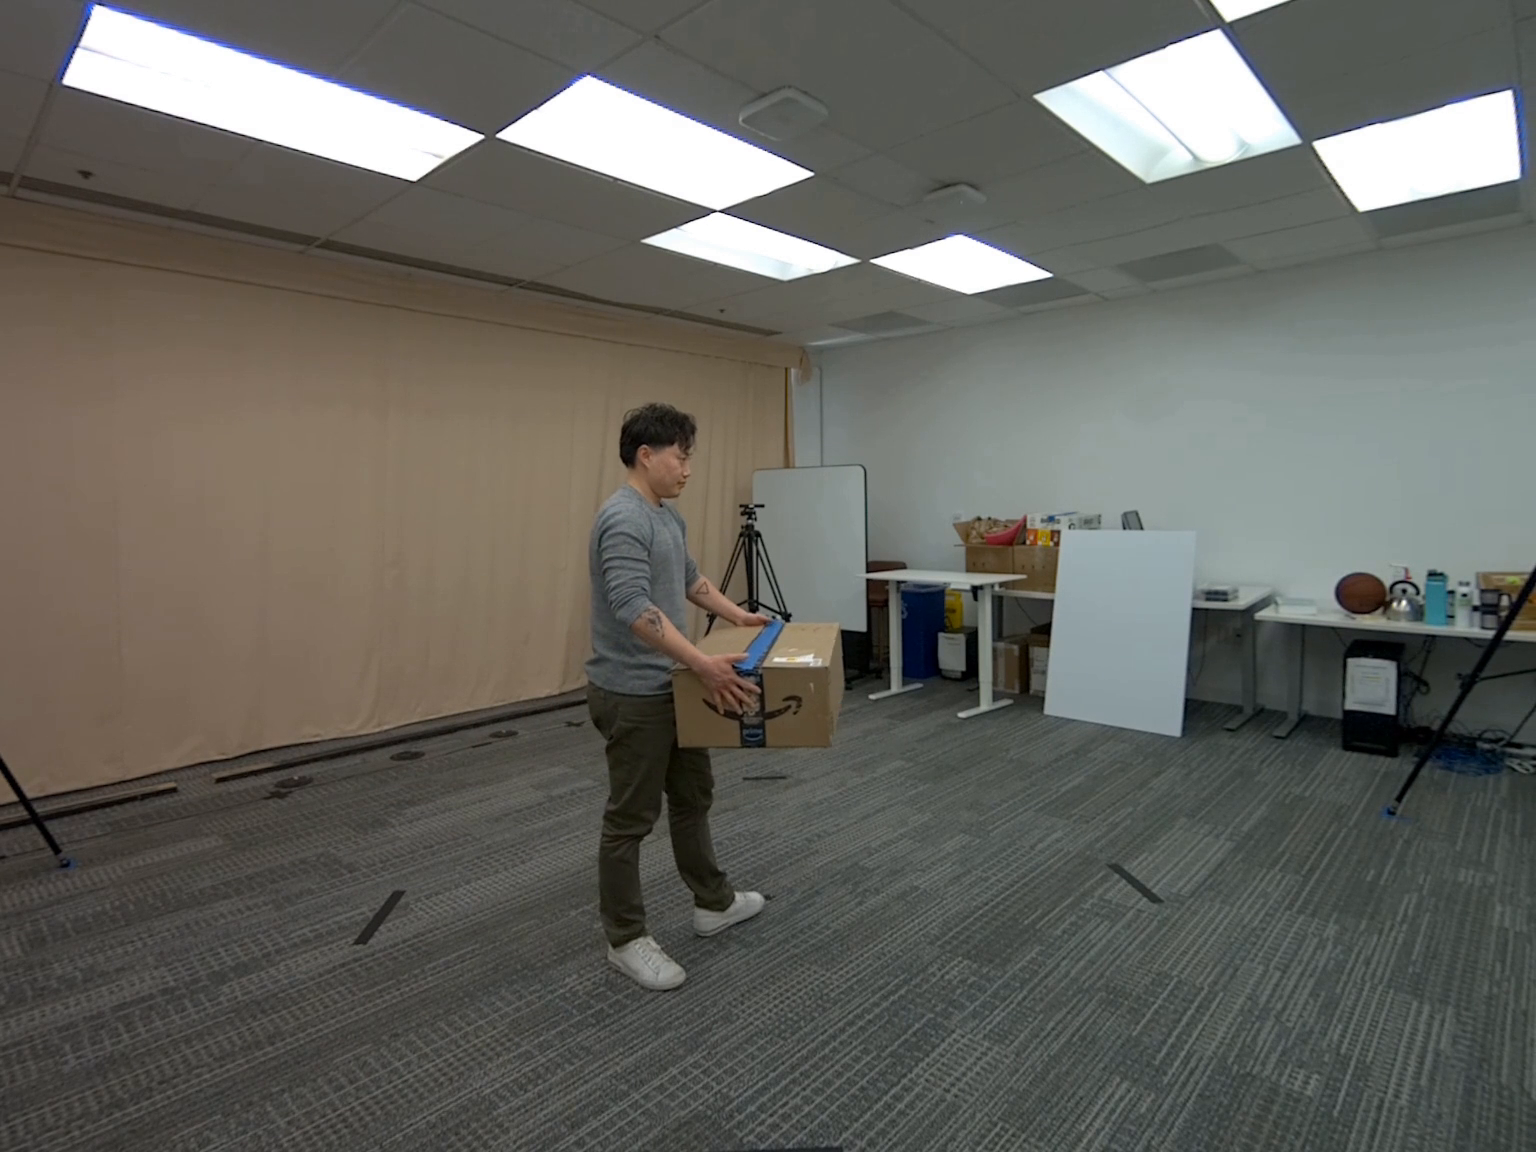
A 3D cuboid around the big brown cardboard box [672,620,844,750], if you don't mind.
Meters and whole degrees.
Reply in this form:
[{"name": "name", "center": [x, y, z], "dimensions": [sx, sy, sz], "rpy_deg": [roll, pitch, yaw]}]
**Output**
[{"name": "big brown cardboard box", "center": [-0.007, 0.301, 2.471], "dimensions": [0.422, 0.232, 0.586], "rpy_deg": [-3, 7, 8]}]
